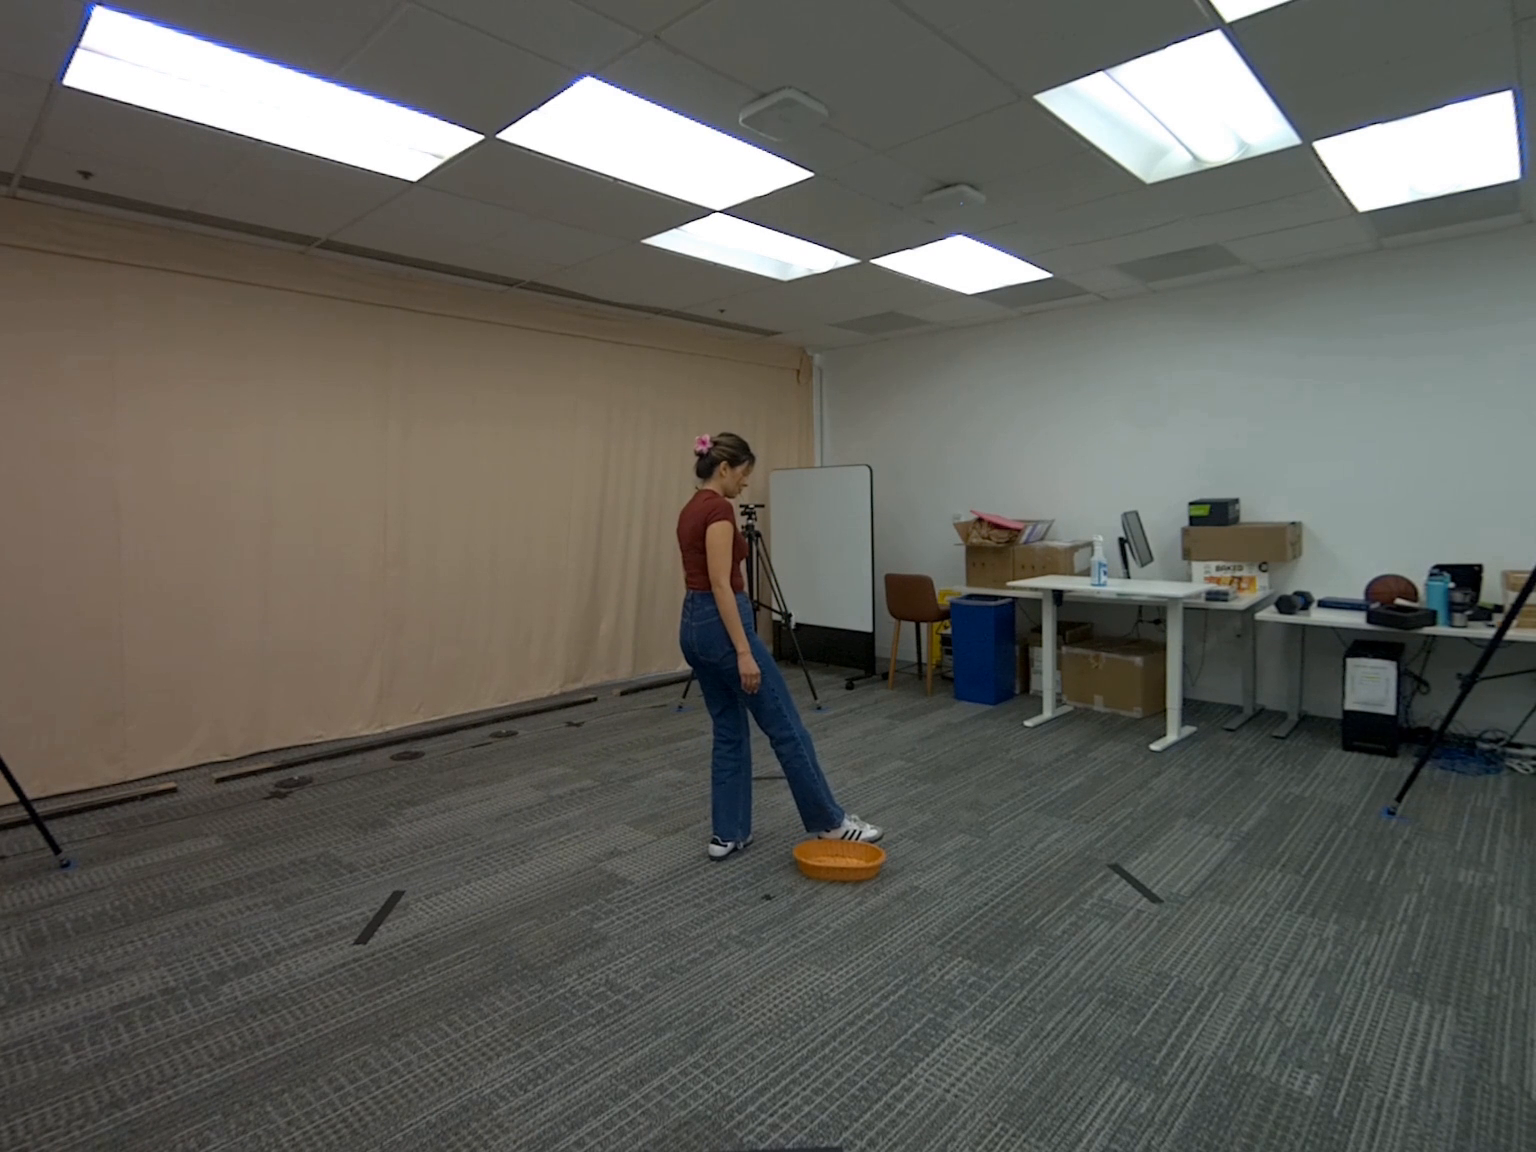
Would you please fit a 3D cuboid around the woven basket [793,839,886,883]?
[{"bbox_3d":[0.264,1.073,3.190,0.354,0.073,0.250,0,4,10],"label":"woven basket"}]
